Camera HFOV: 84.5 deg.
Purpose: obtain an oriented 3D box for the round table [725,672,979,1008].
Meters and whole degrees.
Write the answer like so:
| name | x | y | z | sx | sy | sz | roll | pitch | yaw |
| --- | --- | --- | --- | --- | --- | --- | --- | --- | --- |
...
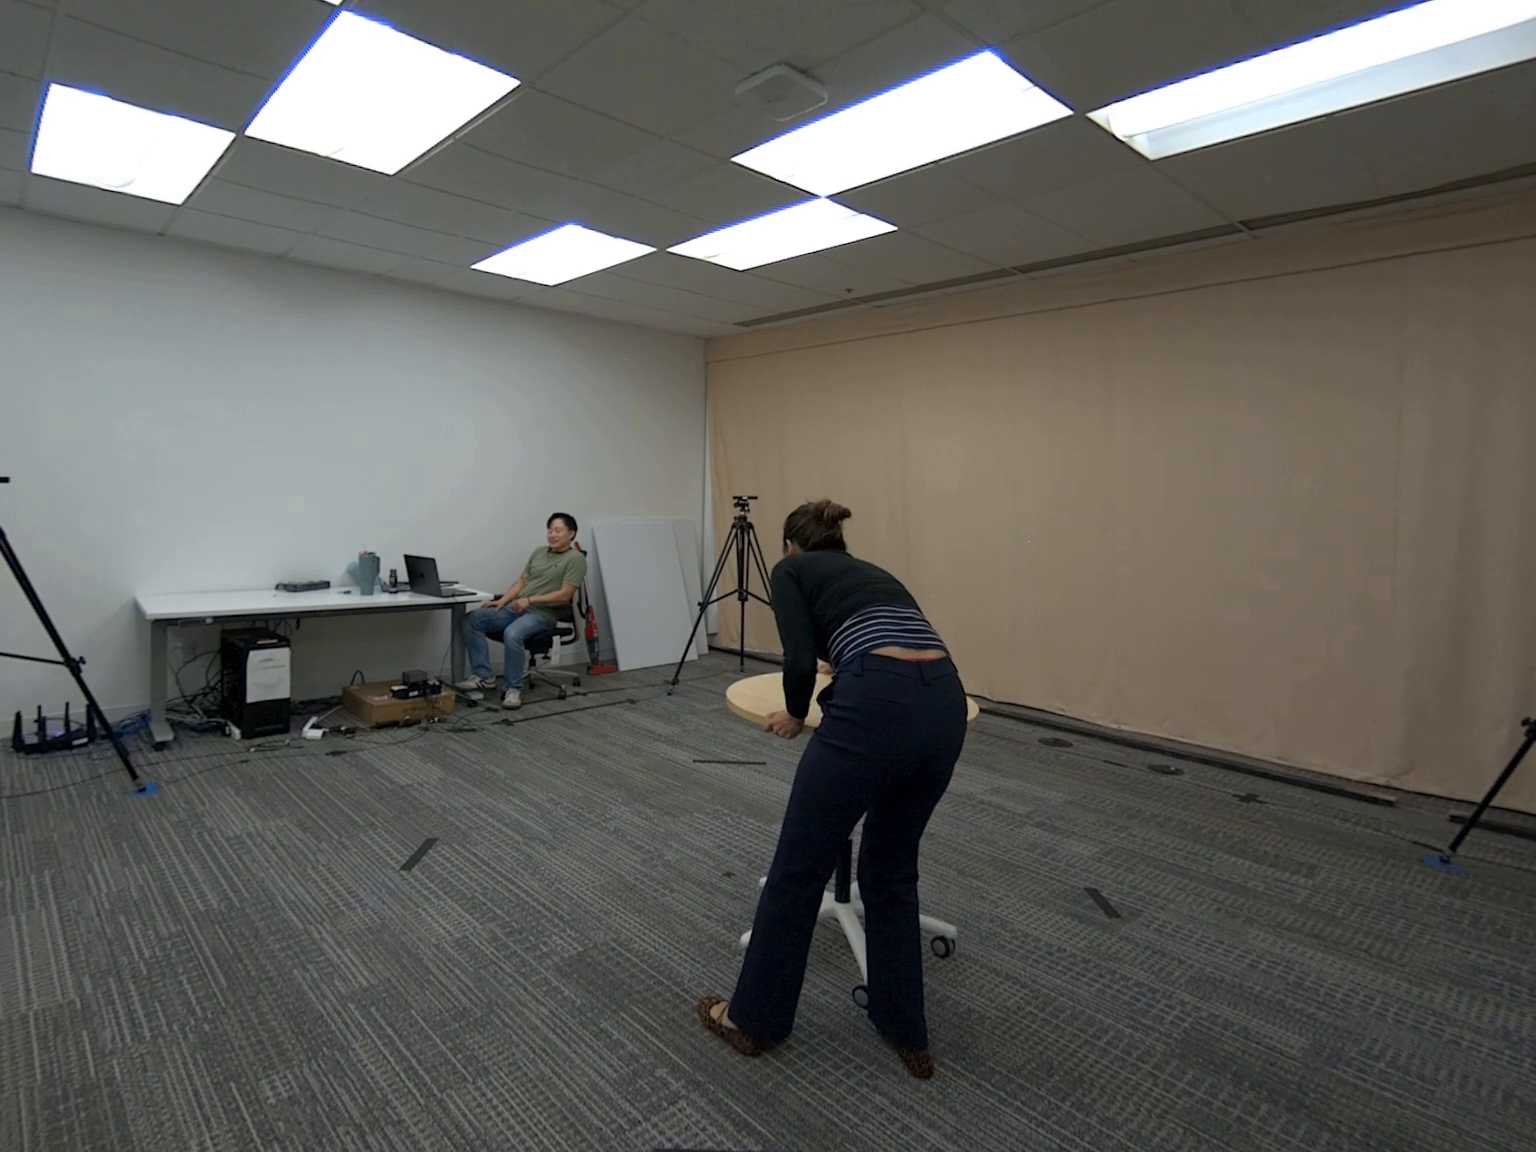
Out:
| name | x | y | z | sx | sy | sz | roll | pitch | yaw |
| --- | --- | --- | --- | --- | --- | --- | --- | --- | --- |
| round table | 0.245 | 0.768 | 2.621 | 0.763 | 0.791 | 0.767 | 1 | 5 | -1 |
